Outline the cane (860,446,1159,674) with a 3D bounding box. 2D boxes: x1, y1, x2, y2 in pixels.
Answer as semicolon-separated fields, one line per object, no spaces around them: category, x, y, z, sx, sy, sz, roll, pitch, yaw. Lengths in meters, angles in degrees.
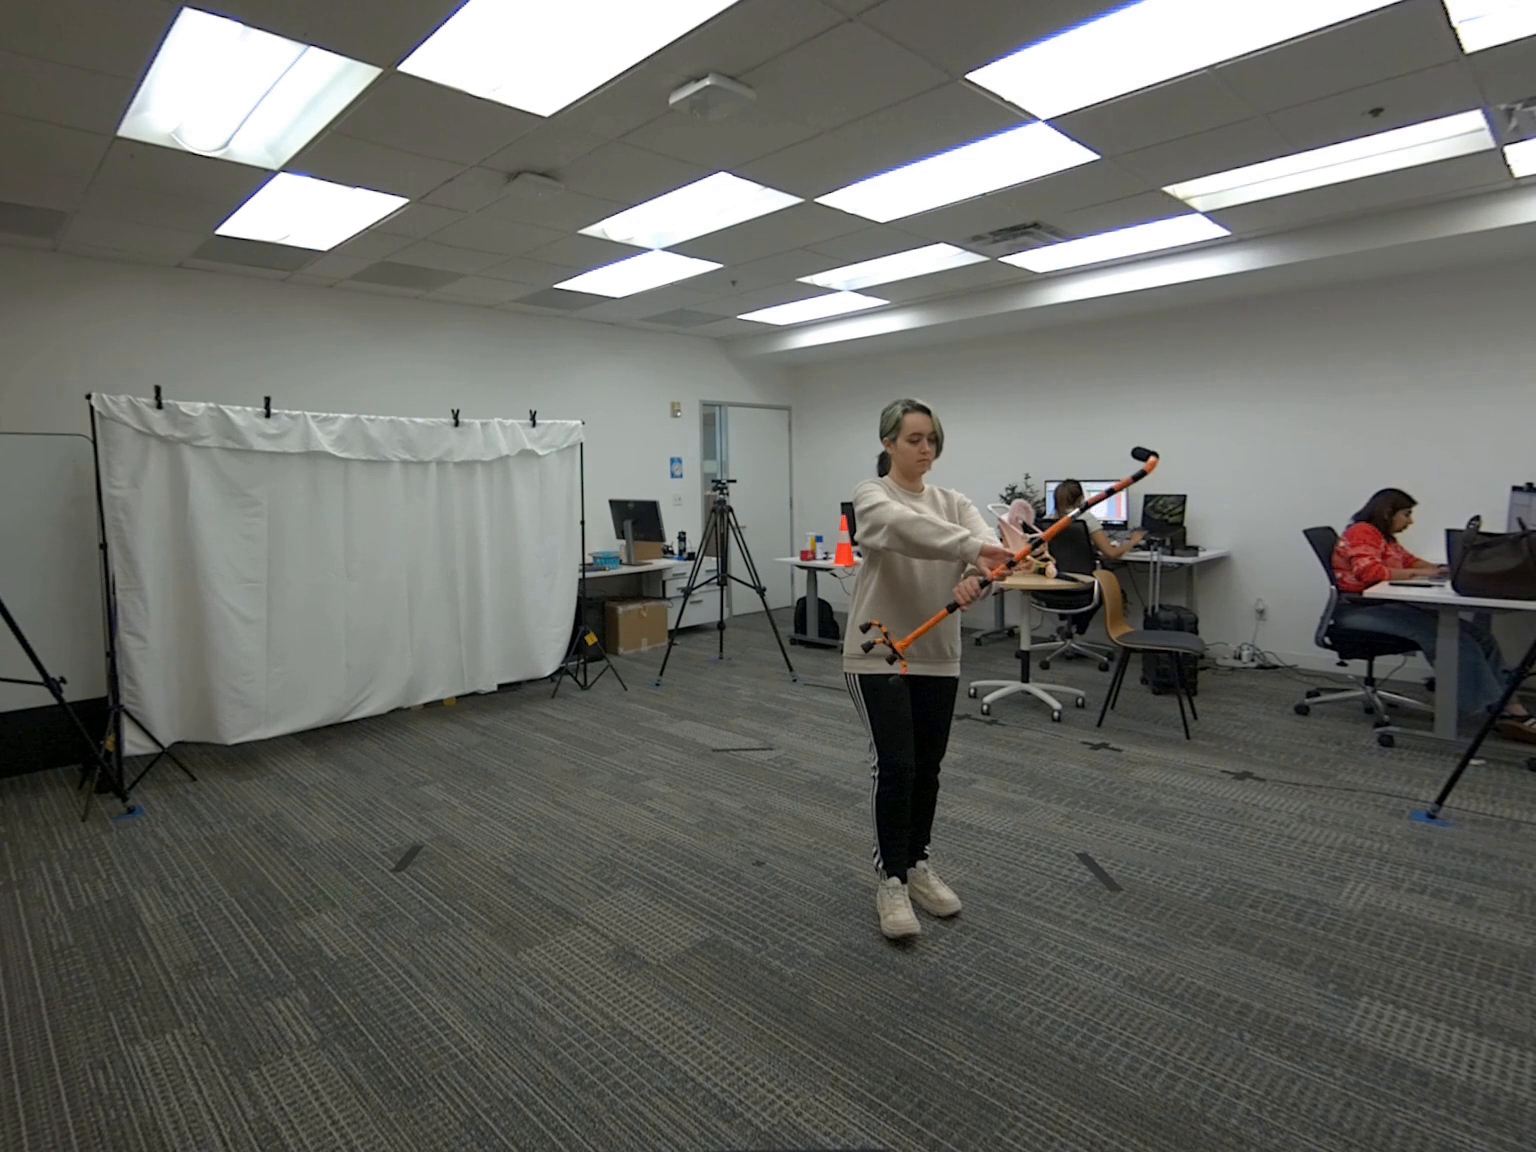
cane;0.652;-0.049;2.314;0.909;0.150;0.208;-39;10;11
